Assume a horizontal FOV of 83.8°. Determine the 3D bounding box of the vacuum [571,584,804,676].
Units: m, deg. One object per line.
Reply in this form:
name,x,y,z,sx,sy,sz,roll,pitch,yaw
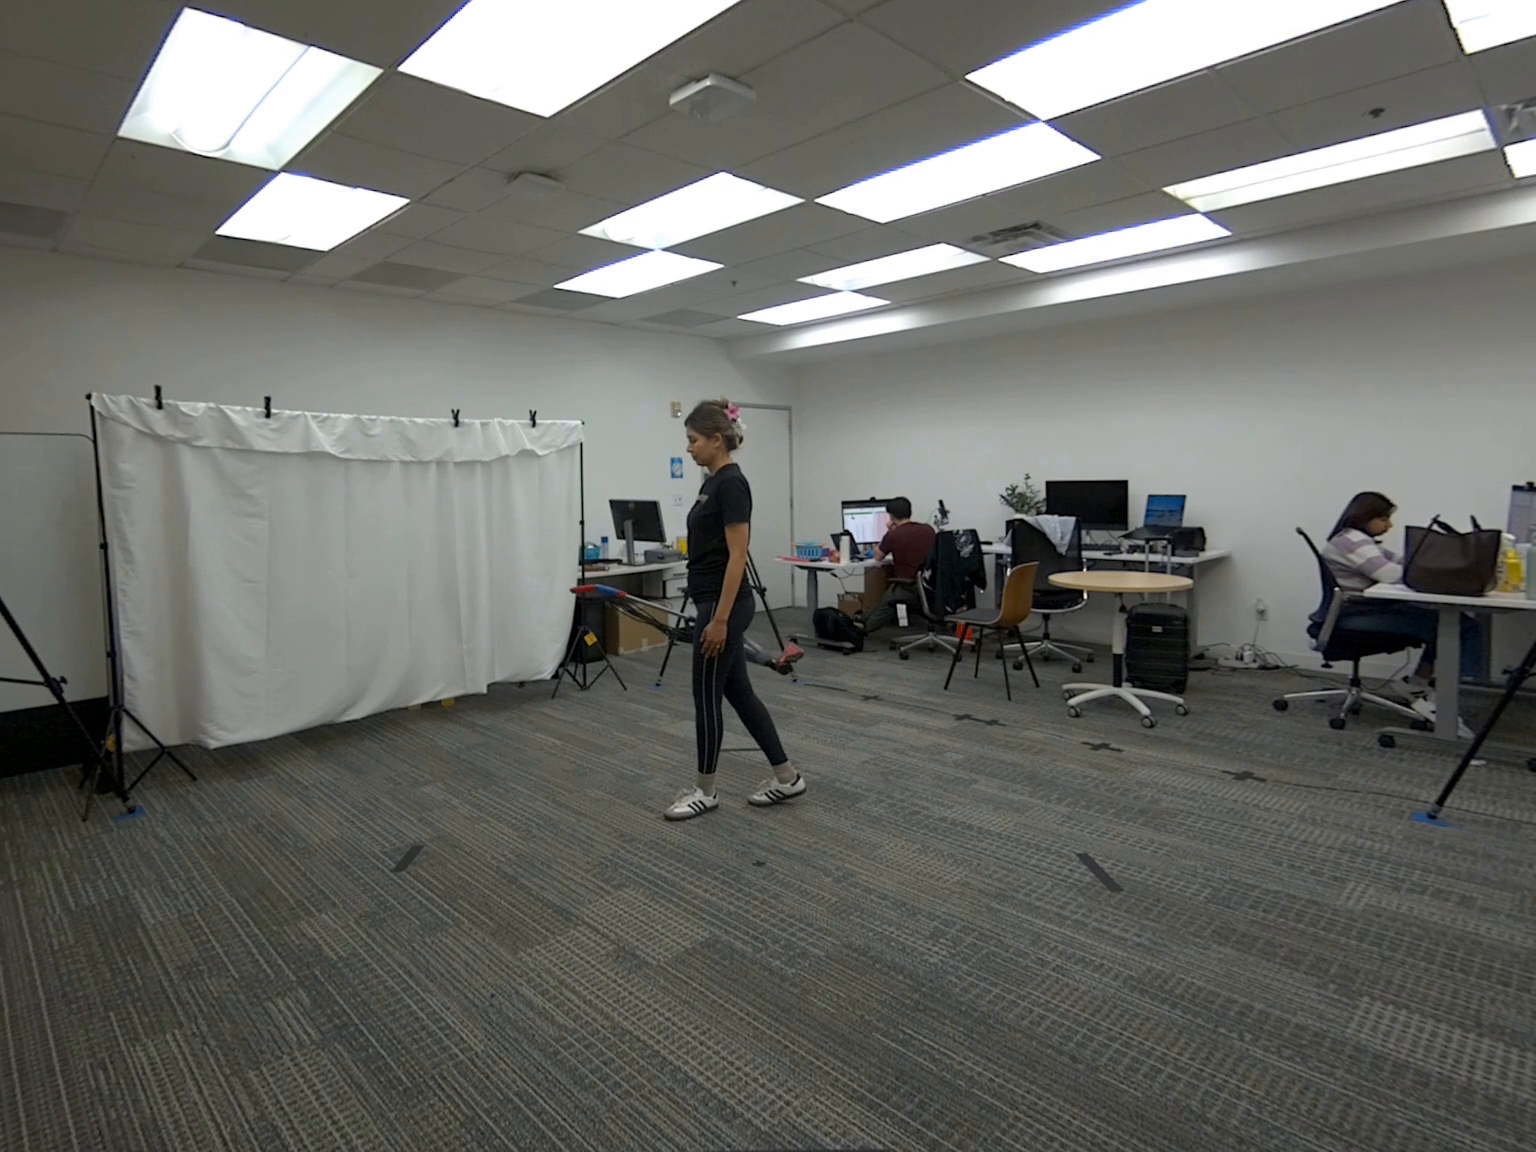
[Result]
vacuum,-0.382,0.239,3.869,1.041,0.144,0.254,19,-1,-6
